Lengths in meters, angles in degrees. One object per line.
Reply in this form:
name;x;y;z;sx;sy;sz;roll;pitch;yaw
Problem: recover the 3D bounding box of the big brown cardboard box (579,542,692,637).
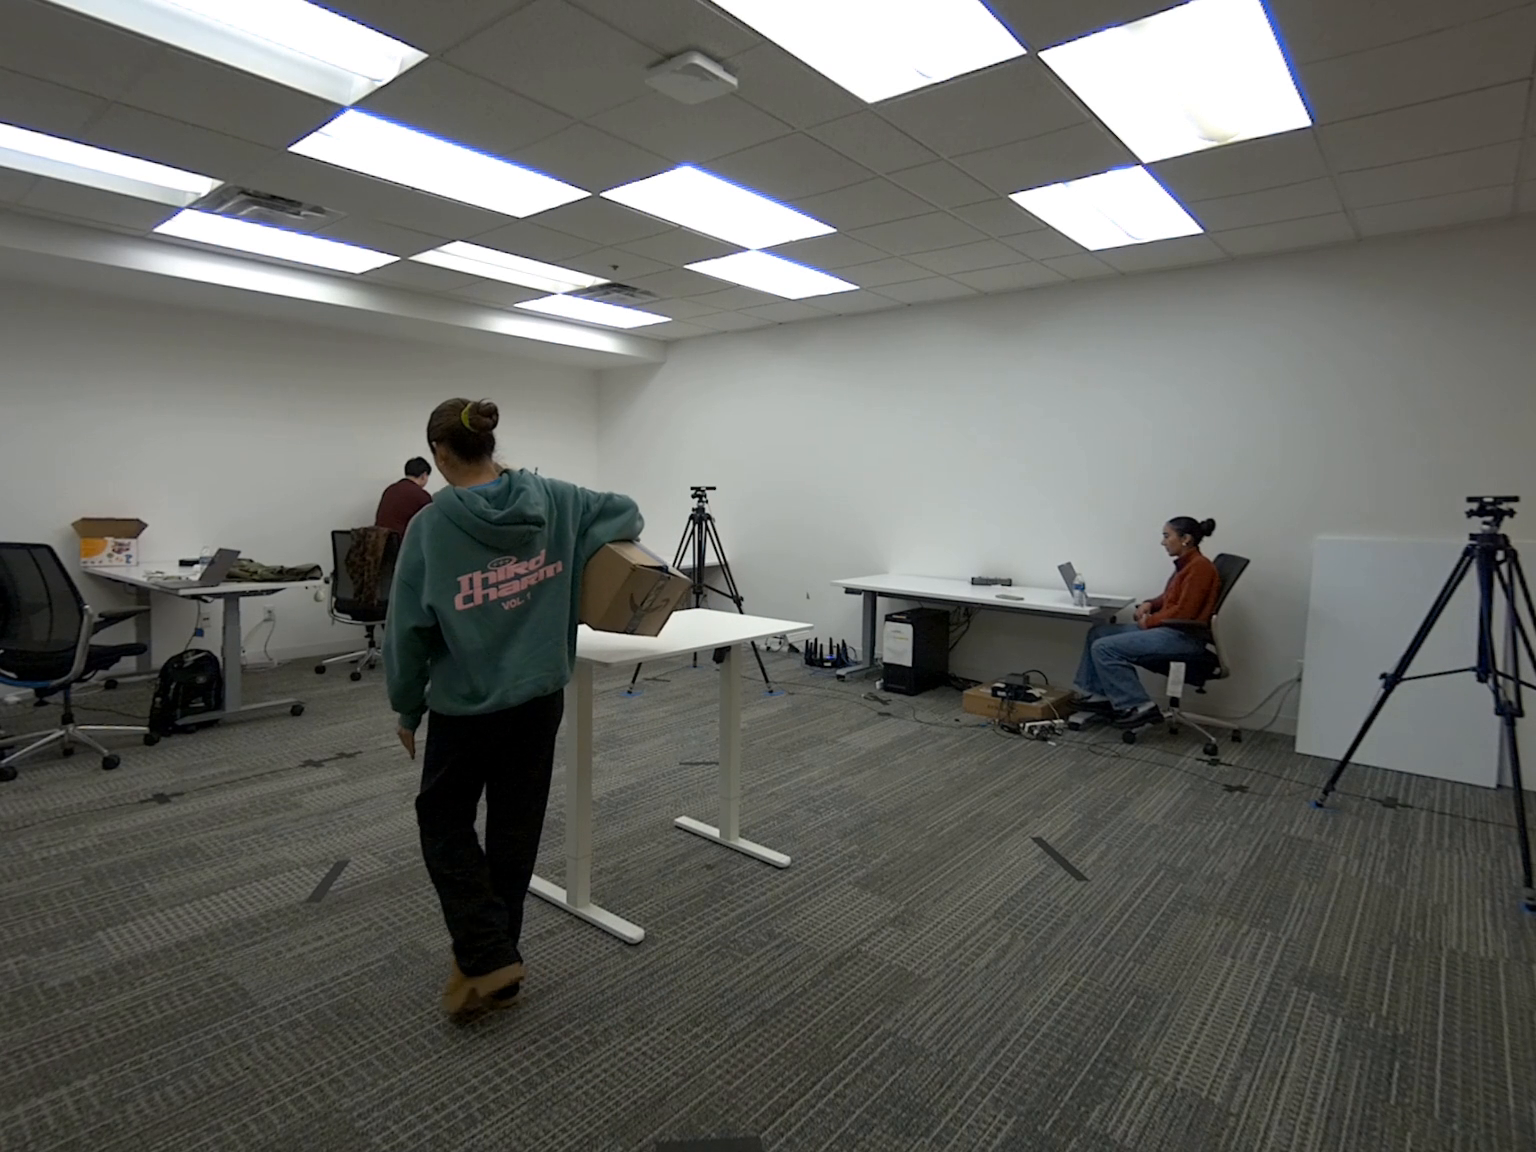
big brown cardboard box;-0.578;-0.066;2.571;0.606;0.233;0.406;33;6;20
